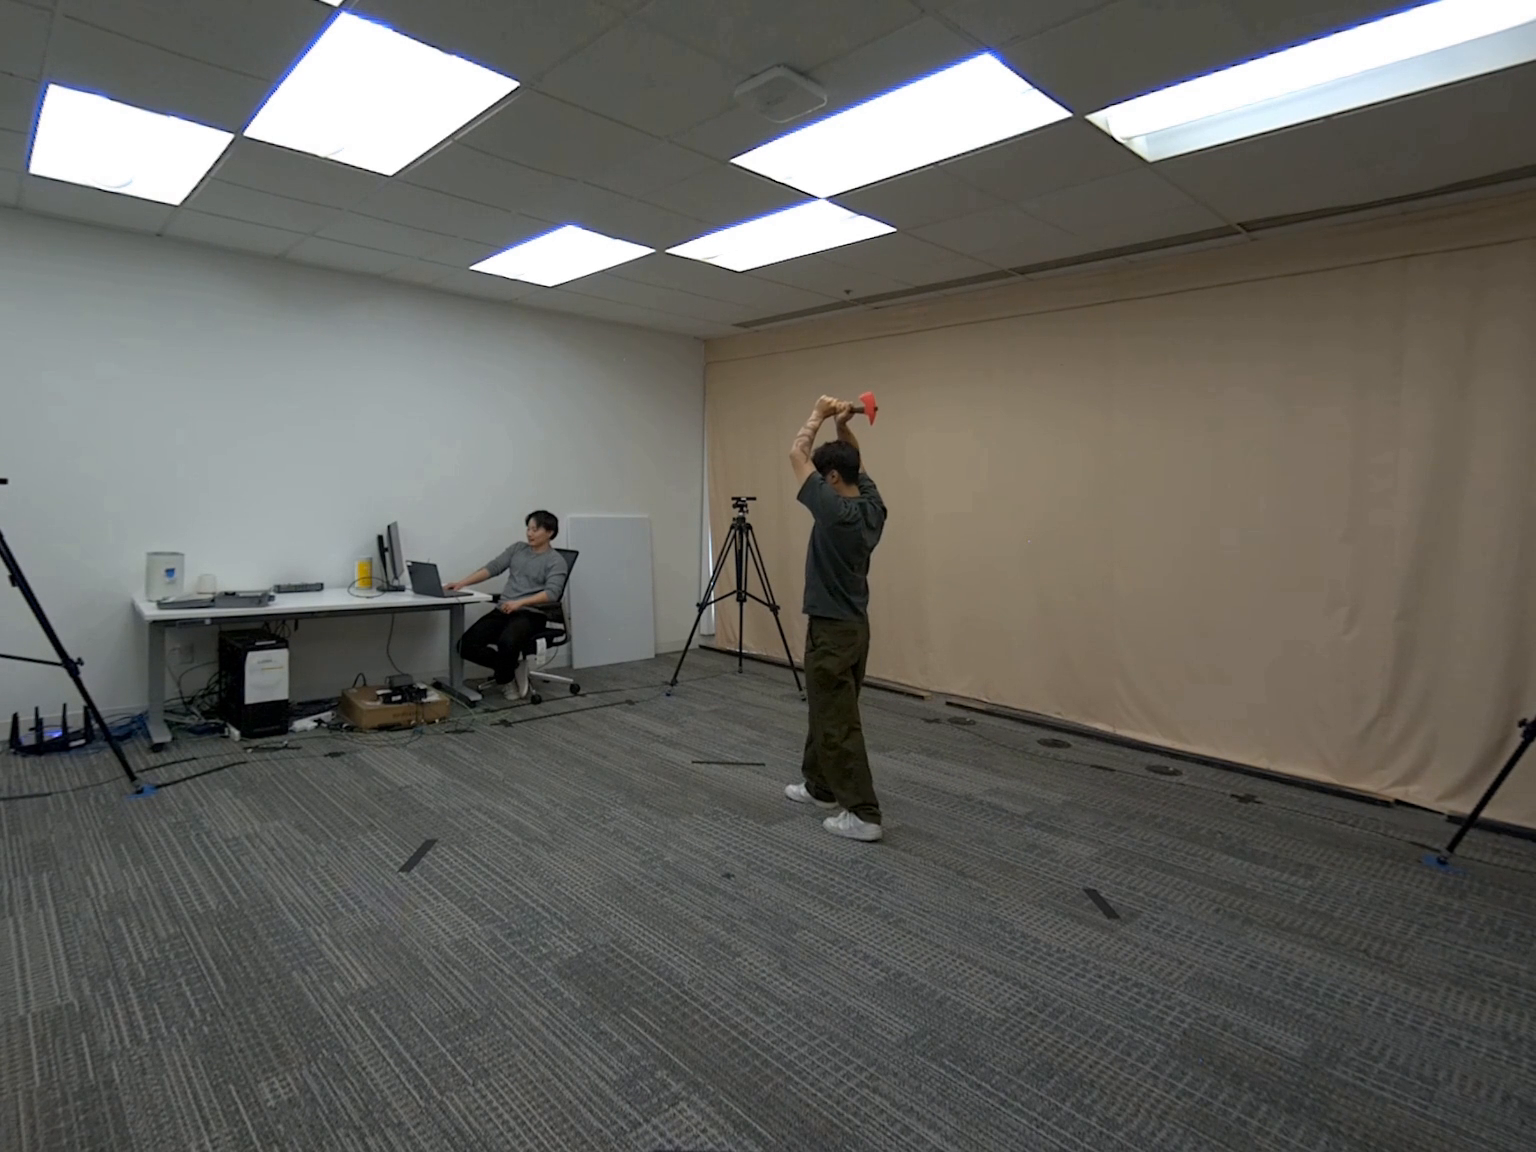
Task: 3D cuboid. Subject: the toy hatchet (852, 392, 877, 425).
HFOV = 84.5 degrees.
[{"bbox_3d":[0.337,-0.738,3.548,0.277,0.129,0.029,26,26,28],"label":"toy hatchet"}]
